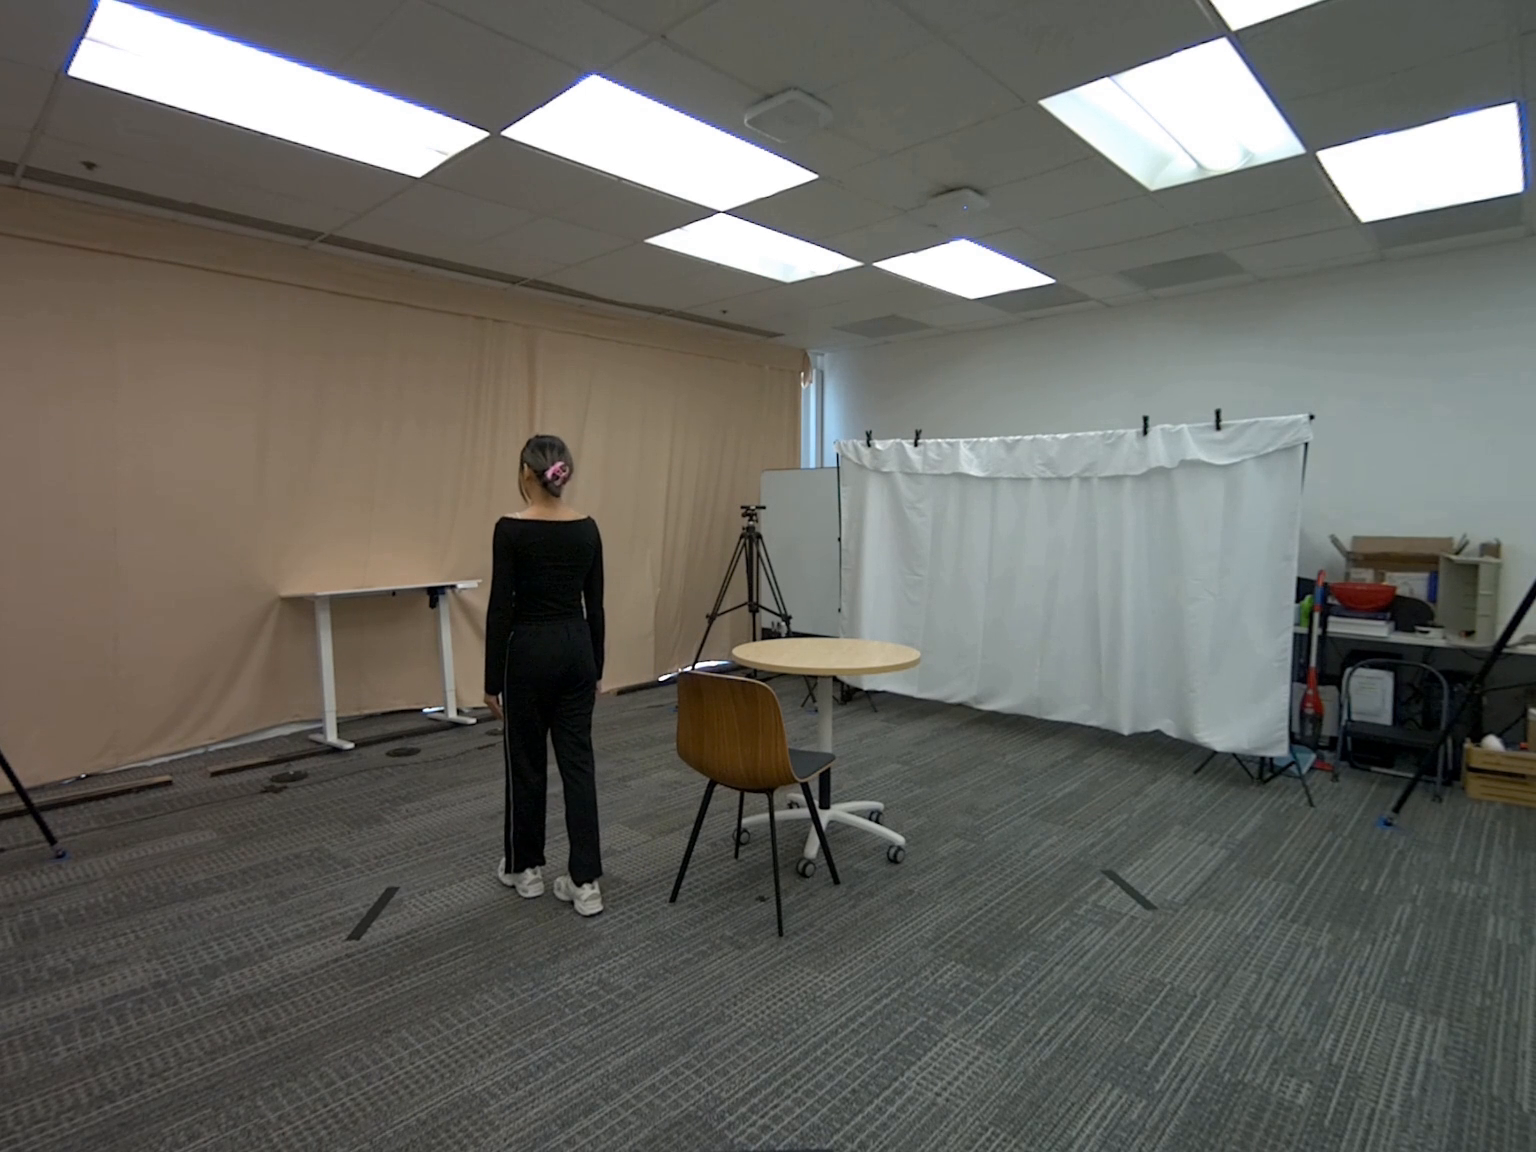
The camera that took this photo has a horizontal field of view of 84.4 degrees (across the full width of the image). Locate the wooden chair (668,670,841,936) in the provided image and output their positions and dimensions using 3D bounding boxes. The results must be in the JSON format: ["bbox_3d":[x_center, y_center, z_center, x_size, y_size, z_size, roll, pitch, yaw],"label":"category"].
[{"bbox_3d":[-0.035,0.716,3.001,0.492,0.873,0.510,2,9,32],"label":"wooden chair"}]
